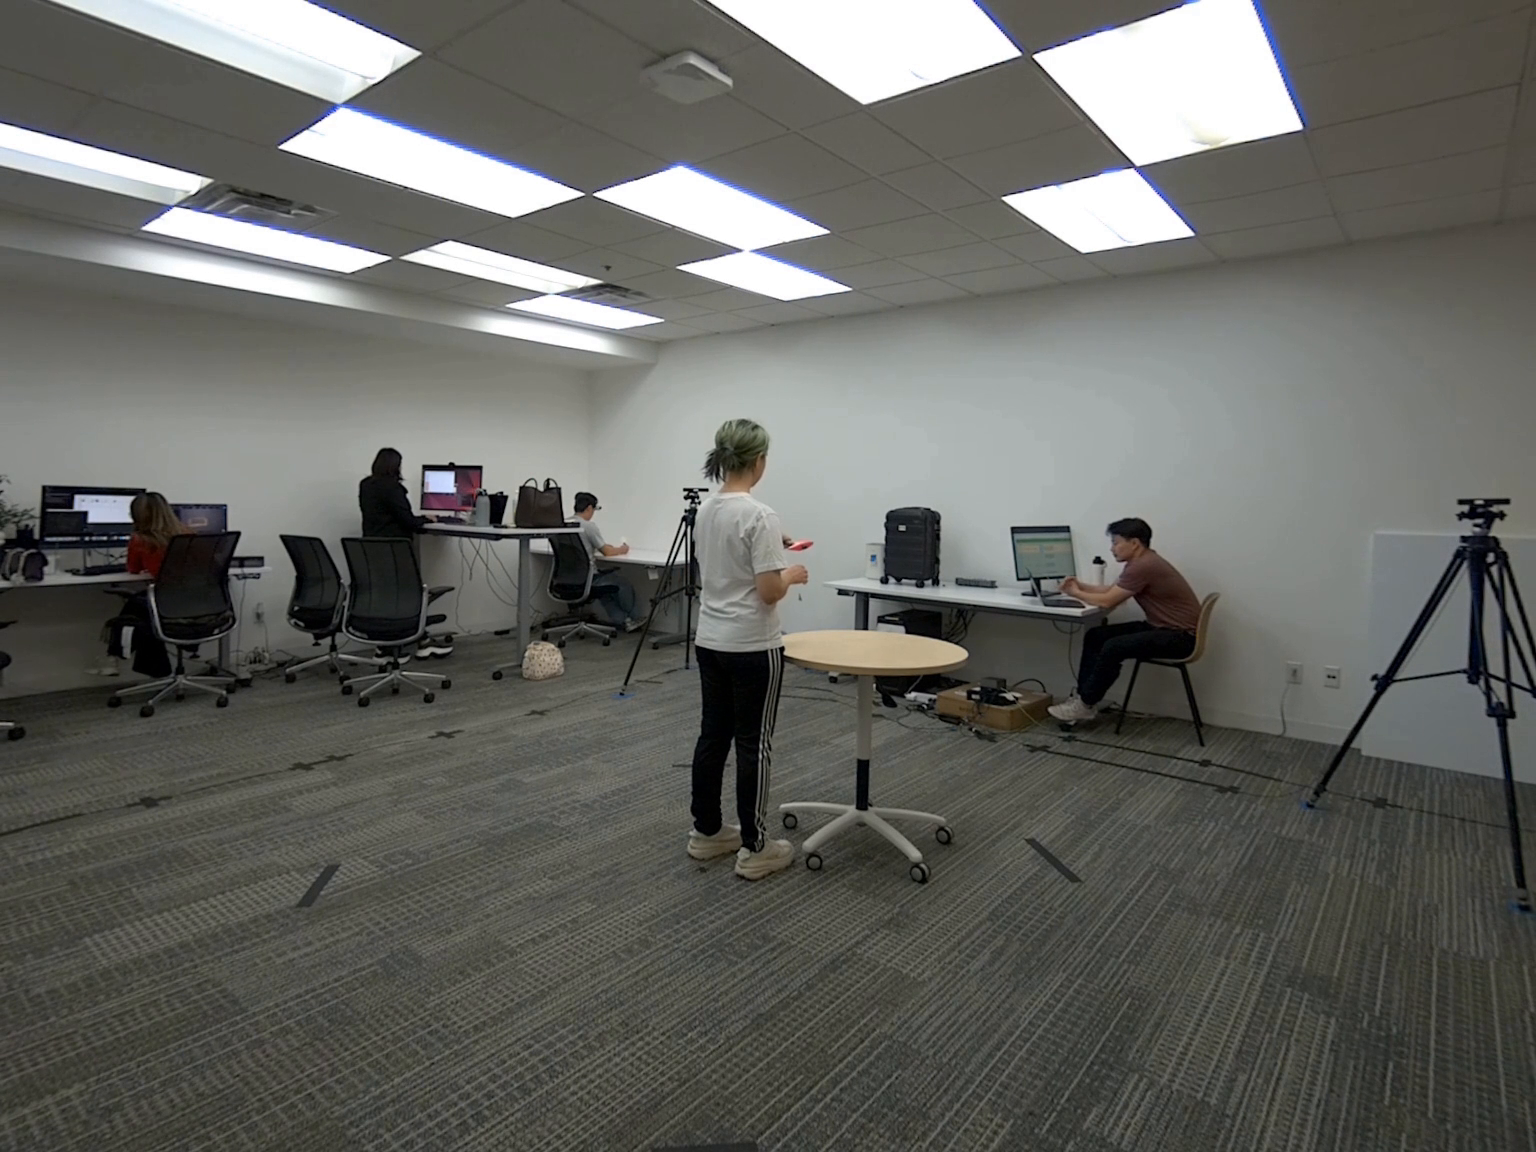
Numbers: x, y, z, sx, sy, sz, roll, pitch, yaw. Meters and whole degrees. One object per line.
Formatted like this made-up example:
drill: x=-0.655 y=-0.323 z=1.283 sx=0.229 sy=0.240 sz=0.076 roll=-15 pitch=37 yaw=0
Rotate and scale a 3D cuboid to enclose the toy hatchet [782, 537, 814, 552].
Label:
toy hatchet: x=0.058 y=-0.159 z=3.502 sx=0.129 sy=0.029 sz=0.279 roll=-11 pitch=20 yaw=-16
